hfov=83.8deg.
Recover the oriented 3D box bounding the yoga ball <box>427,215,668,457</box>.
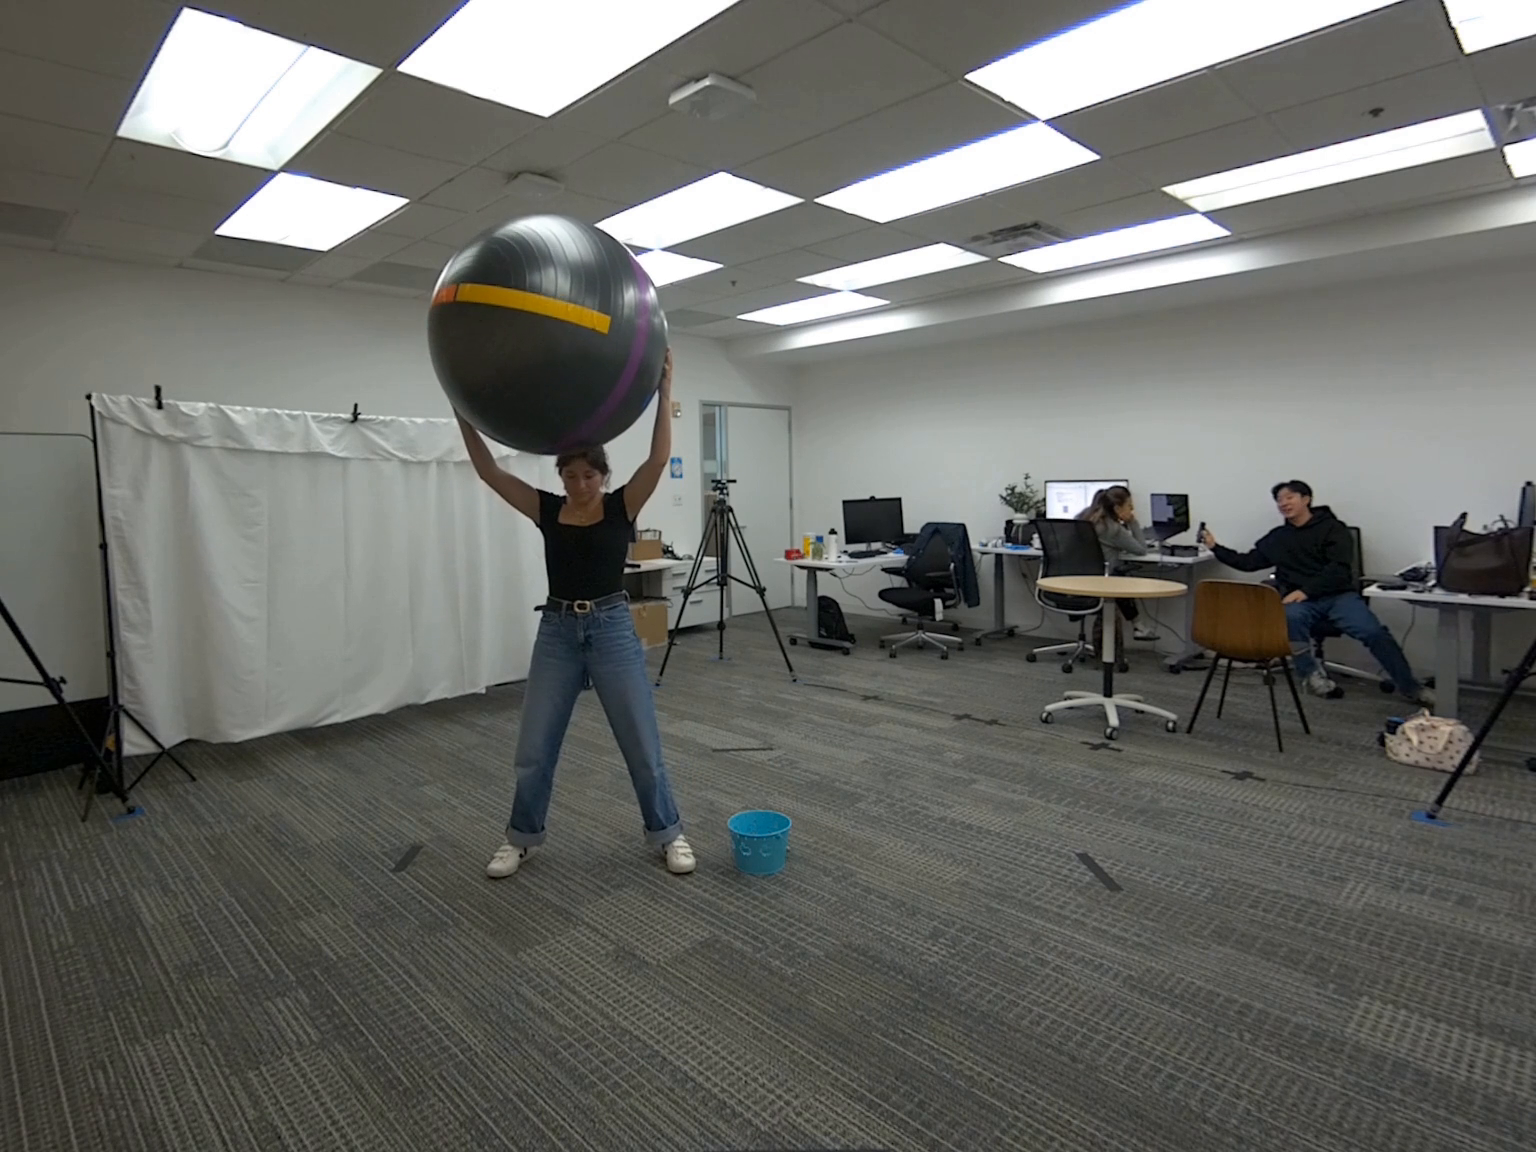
[{"bbox_3d":[-0.703,-0.751,2.755,0.757,0.755,0.762,-1,5,-2],"label":"yoga ball"}]
